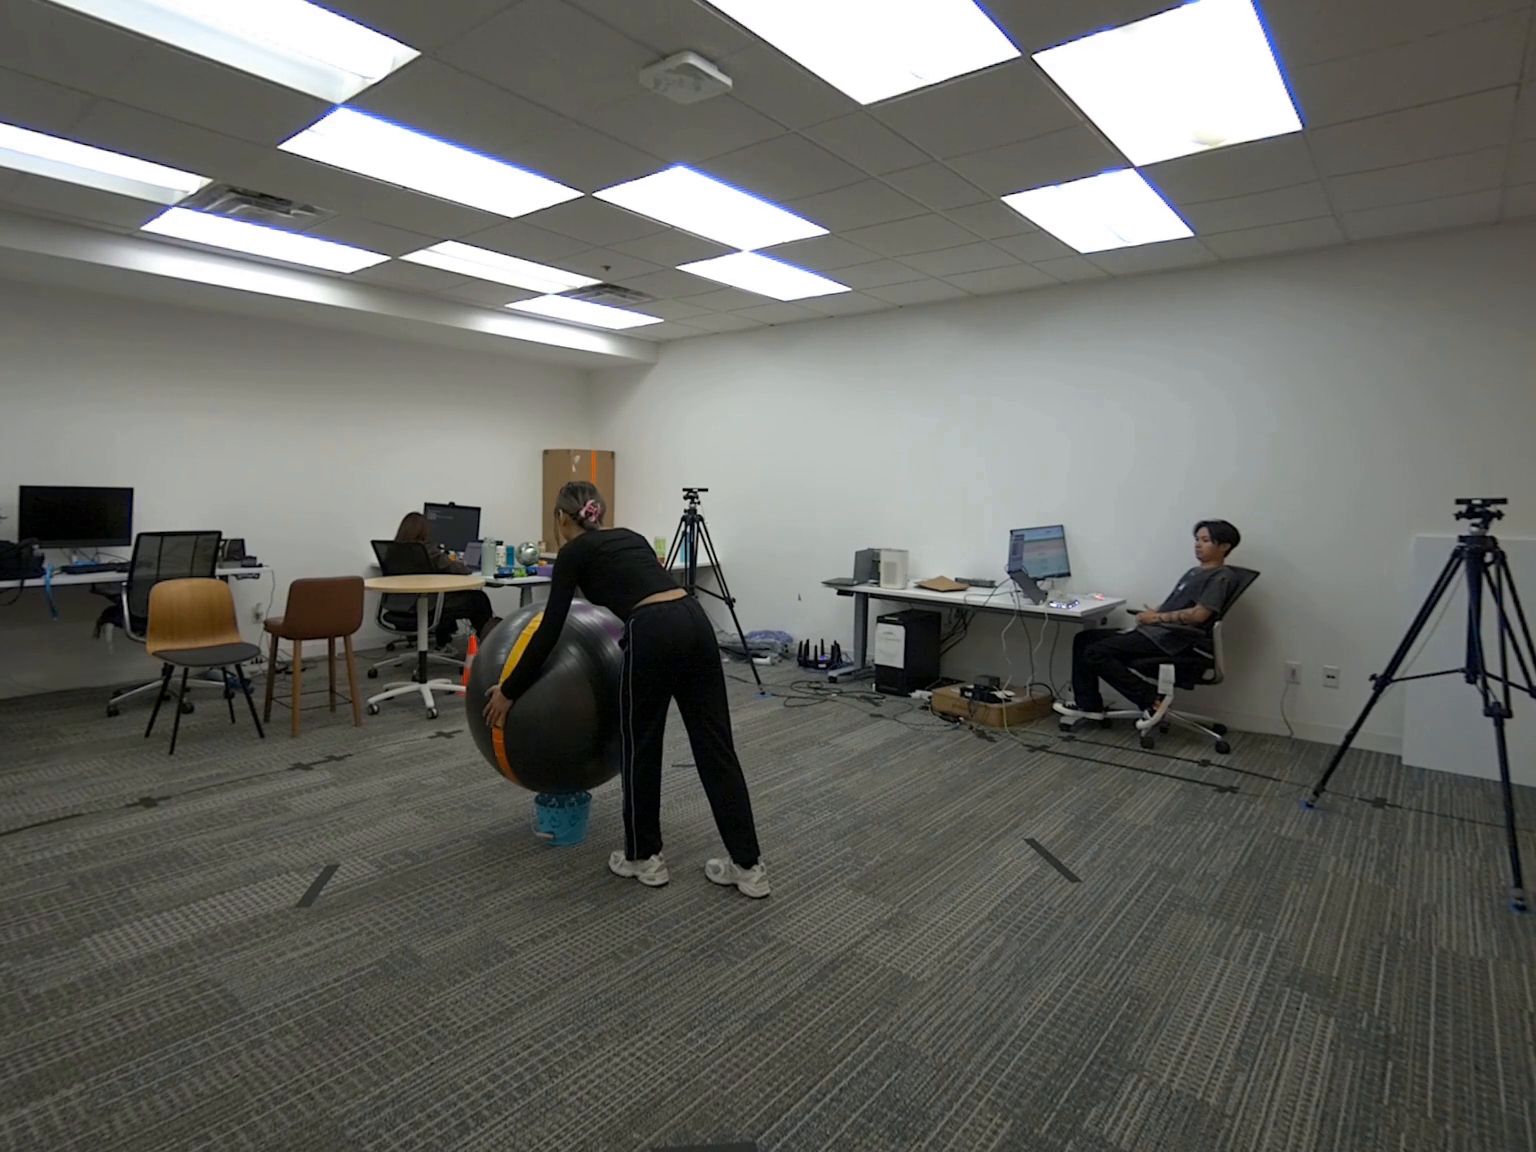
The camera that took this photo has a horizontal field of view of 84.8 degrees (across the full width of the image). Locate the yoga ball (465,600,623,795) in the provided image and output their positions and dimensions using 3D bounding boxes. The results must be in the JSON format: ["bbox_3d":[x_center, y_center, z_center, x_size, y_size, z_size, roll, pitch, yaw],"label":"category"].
[{"bbox_3d":[-0.827,0.458,3.366,0.757,0.755,0.762,1,4,-2],"label":"yoga ball"}]
